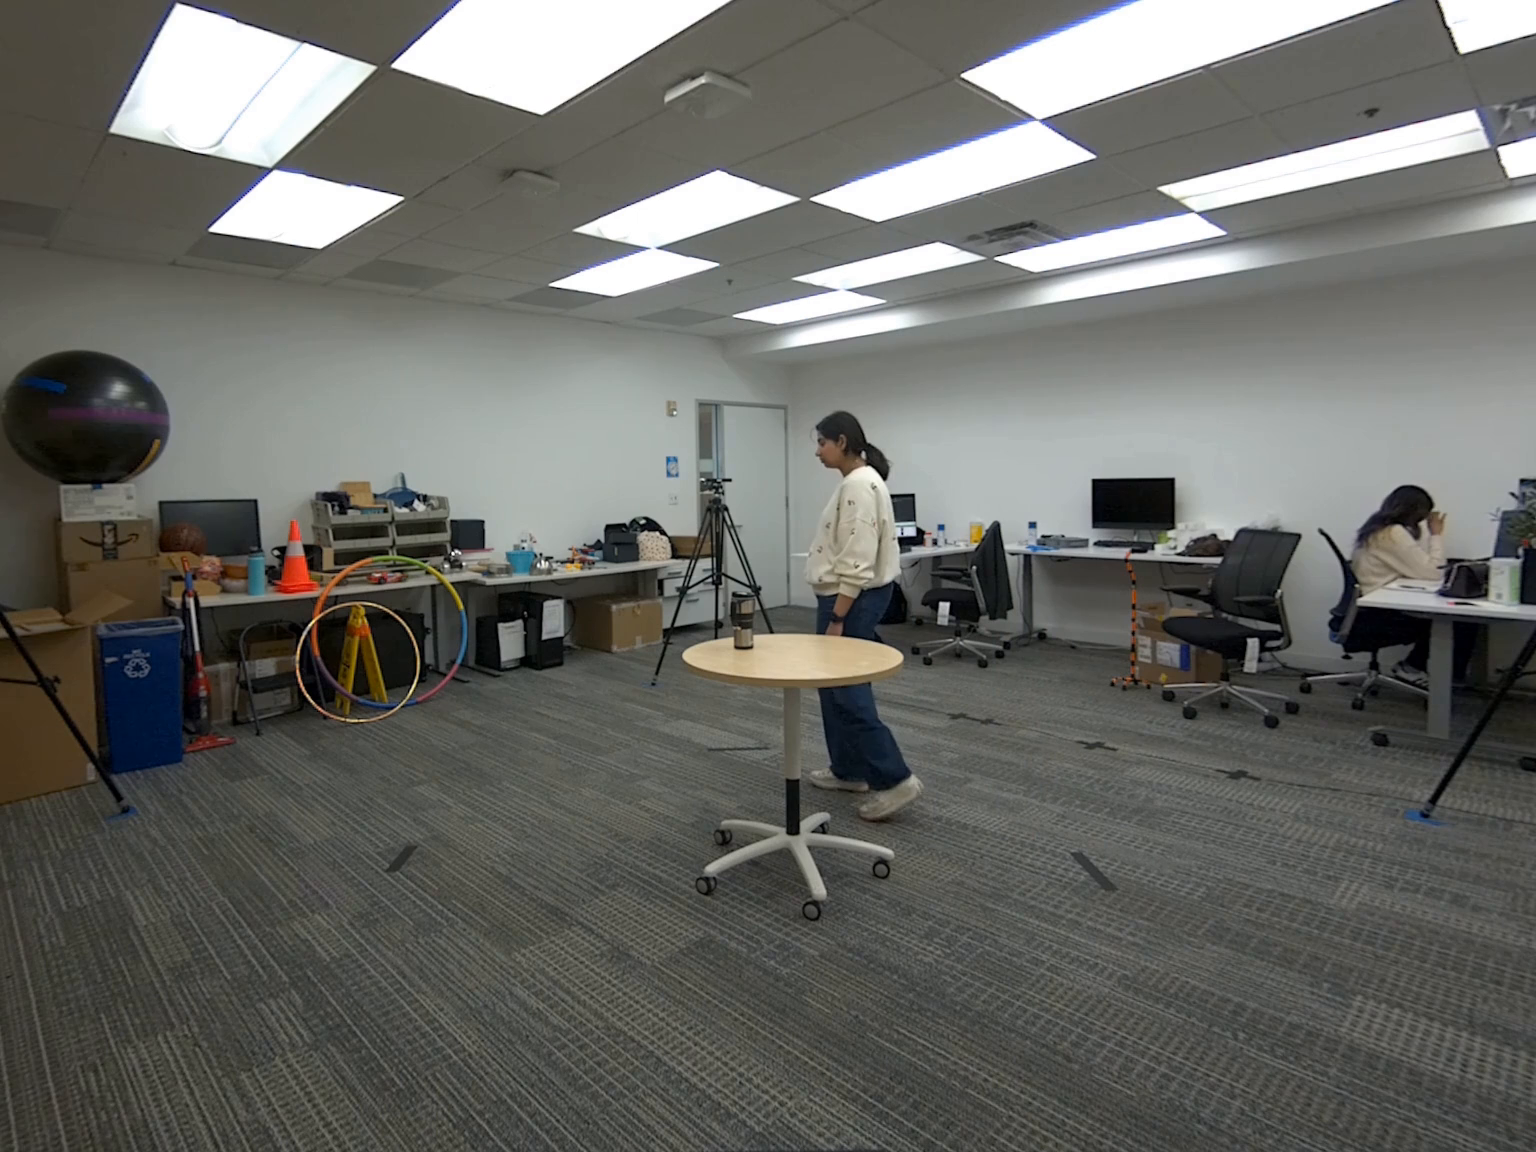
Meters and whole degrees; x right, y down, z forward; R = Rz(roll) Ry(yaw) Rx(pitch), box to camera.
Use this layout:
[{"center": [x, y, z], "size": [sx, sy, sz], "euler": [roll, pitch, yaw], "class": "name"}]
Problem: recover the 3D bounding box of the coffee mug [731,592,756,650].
[{"center": [-0.102, 0.161, 3.081], "size": [0.119, 0.202, 0.091], "euler": [-2, 9, -37], "class": "coffee mug"}]
